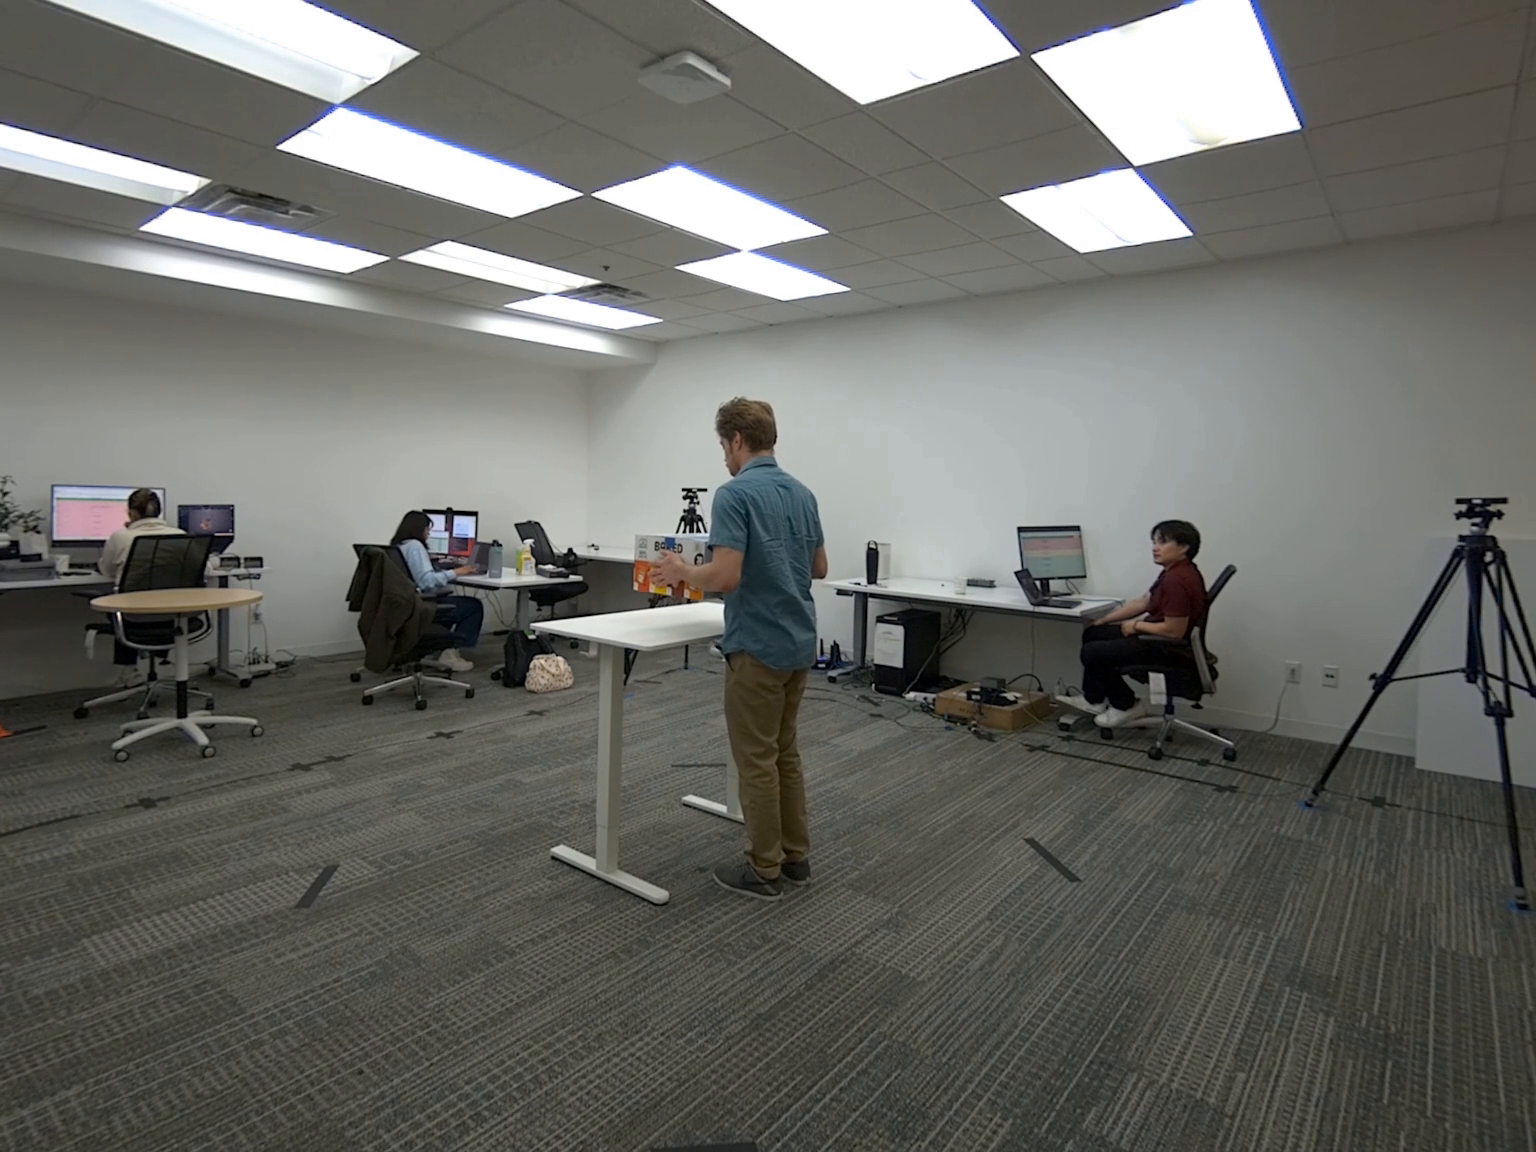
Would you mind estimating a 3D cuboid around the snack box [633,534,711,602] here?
[{"bbox_3d":[-0.243,-0.046,3.128,0.352,0.205,0.393,7,7,38],"label":"snack box"}]
